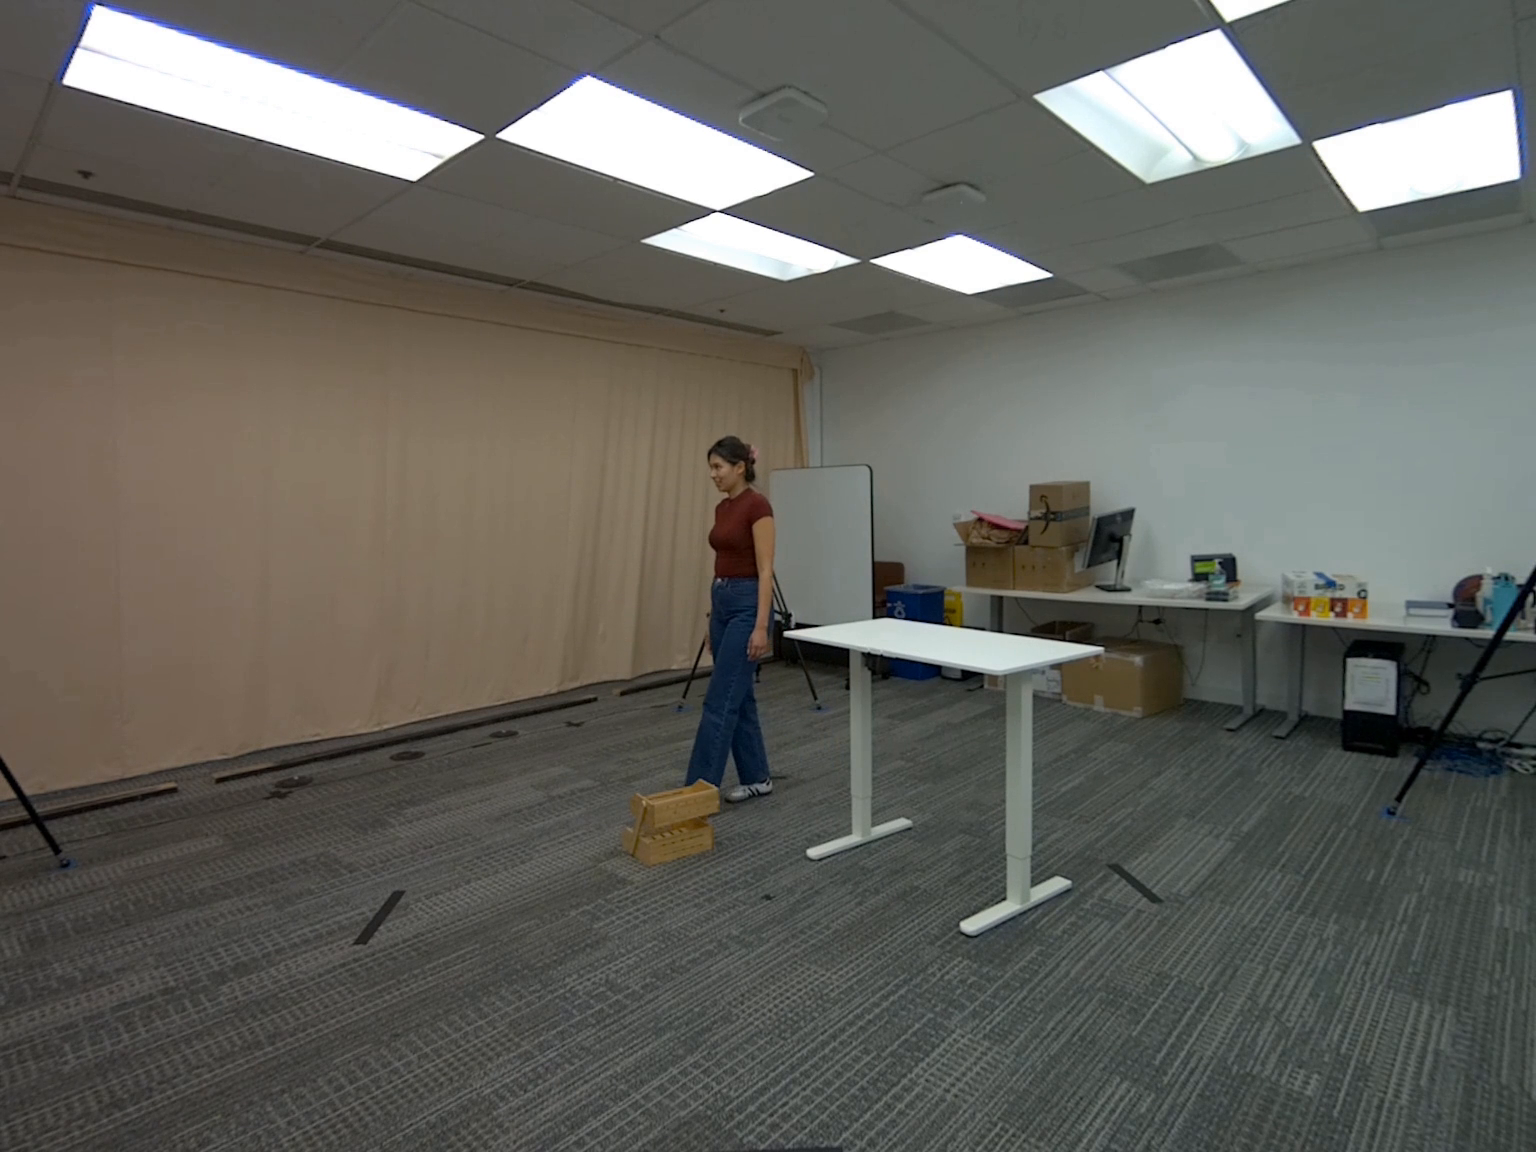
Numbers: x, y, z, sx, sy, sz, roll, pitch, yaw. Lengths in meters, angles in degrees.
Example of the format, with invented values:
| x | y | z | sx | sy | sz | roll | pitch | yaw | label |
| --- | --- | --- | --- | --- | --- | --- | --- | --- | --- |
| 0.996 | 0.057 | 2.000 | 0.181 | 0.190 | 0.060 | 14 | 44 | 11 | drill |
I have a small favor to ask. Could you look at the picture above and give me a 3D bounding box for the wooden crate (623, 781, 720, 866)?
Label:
| x | y | z | sx | sy | sz | roll | pitch | yaw | label |
| --- | --- | --- | --- | --- | --- | --- | --- | --- | --- |
| -0.406 | 0.978 | 3.417 | 0.315 | 0.272 | 0.311 | -4 | 5 | -34 | wooden crate |
